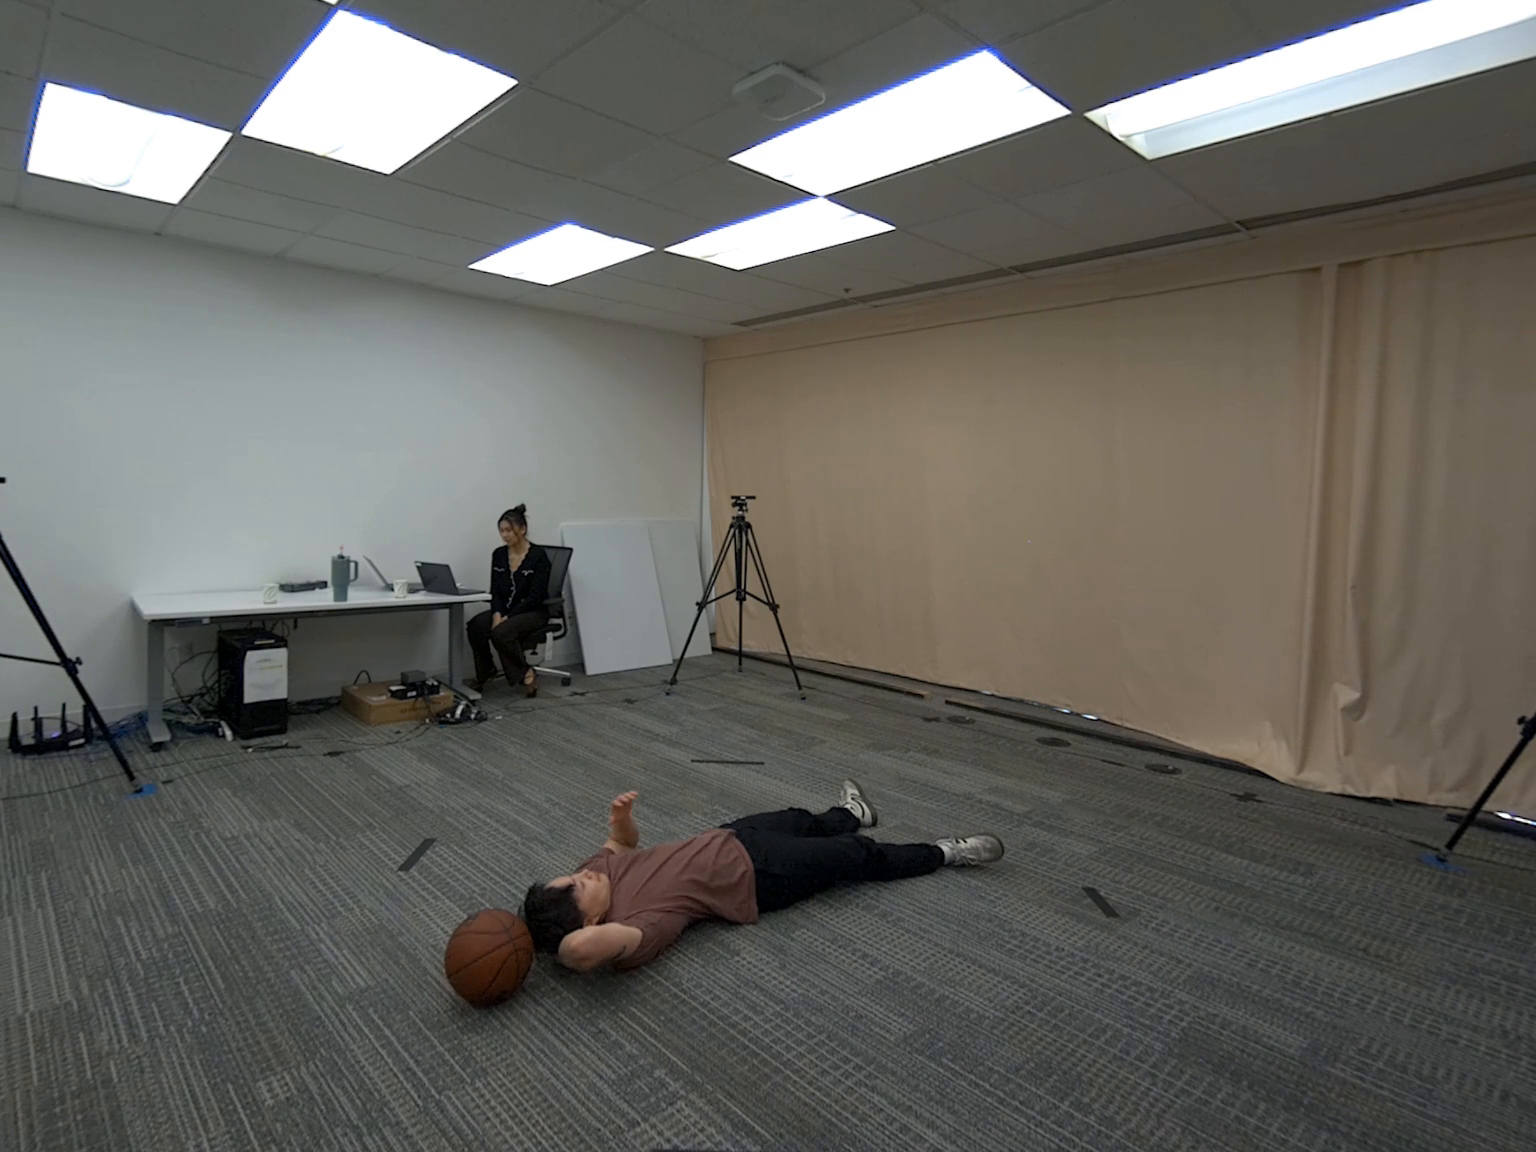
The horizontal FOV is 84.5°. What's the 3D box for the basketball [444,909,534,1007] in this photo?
[{"bbox_3d":[-0.763,1.036,2.314,0.236,0.235,0.237,2,4,-2],"label":"basketball"}]
